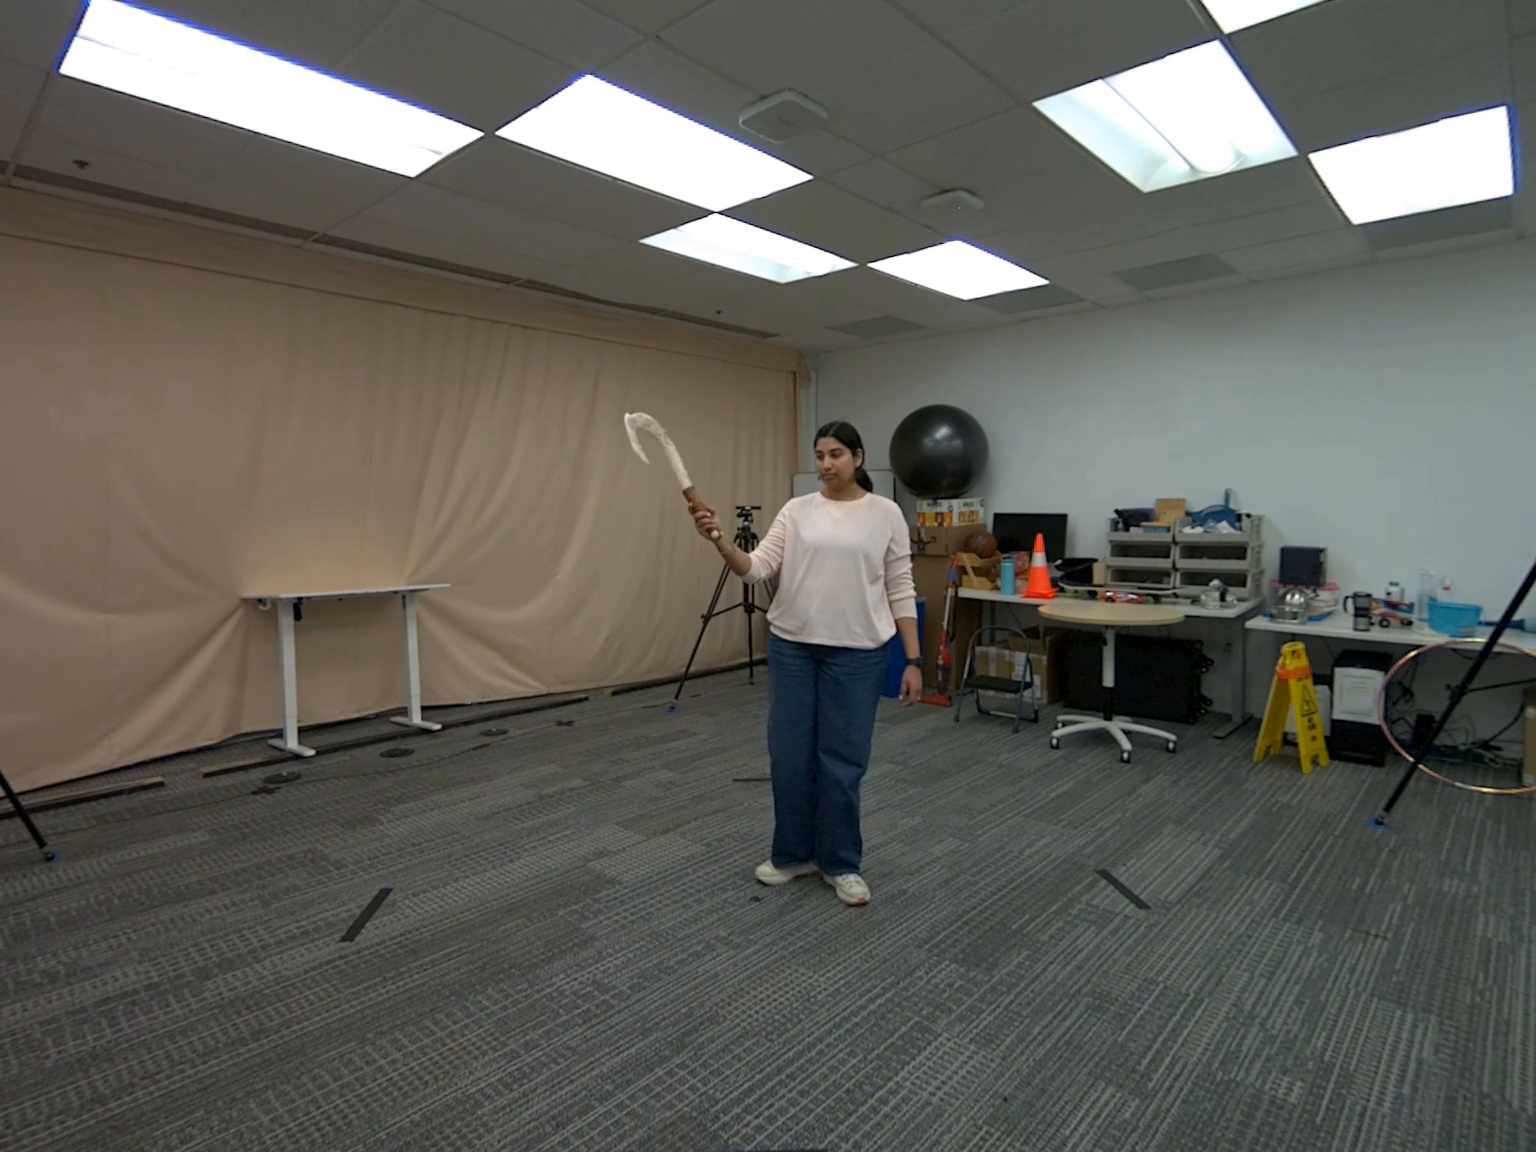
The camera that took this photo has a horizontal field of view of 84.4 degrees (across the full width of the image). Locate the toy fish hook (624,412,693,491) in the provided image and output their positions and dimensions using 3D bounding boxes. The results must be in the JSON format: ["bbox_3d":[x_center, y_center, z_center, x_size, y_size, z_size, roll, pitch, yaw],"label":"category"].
[{"bbox_3d":[-0.306,-0.316,2.756,0.049,0.512,0.219,-38,-10,33],"label":"toy fish hook"}]
